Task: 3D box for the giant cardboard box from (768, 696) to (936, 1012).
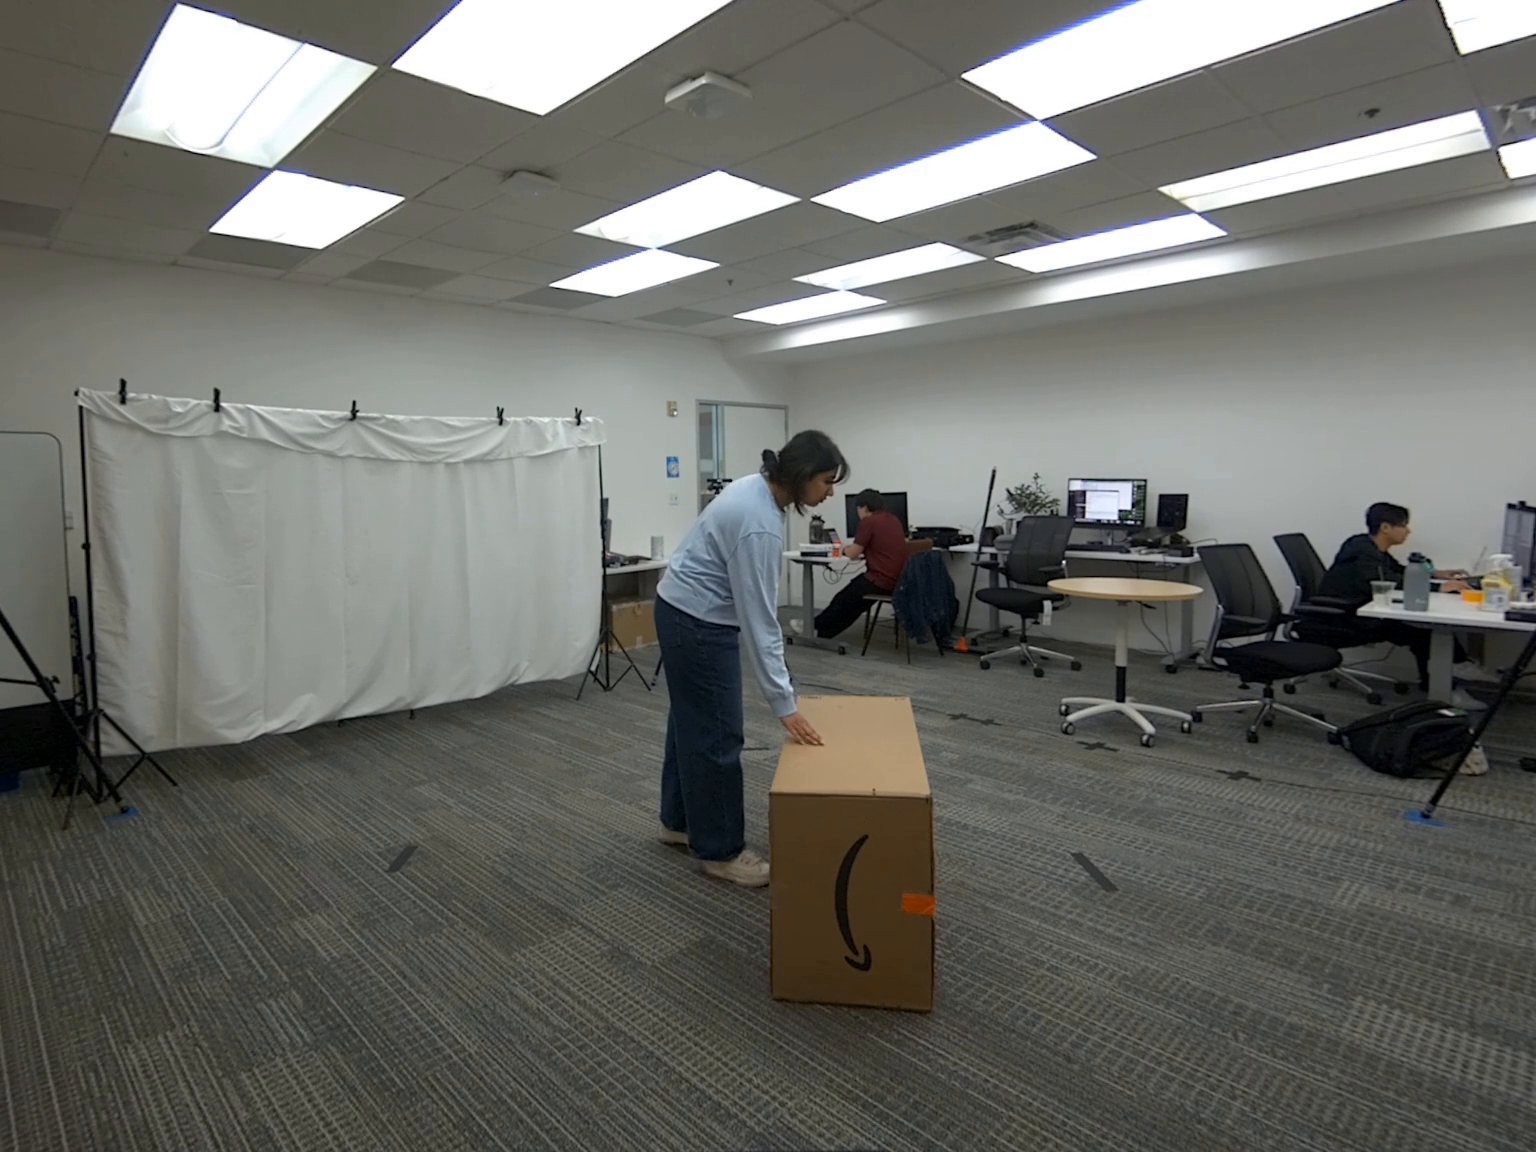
[{"bbox_3d":[0.276,0.790,2.728,0.430,0.575,1.021,0,5,7],"label":"giant cardboard box"}]
